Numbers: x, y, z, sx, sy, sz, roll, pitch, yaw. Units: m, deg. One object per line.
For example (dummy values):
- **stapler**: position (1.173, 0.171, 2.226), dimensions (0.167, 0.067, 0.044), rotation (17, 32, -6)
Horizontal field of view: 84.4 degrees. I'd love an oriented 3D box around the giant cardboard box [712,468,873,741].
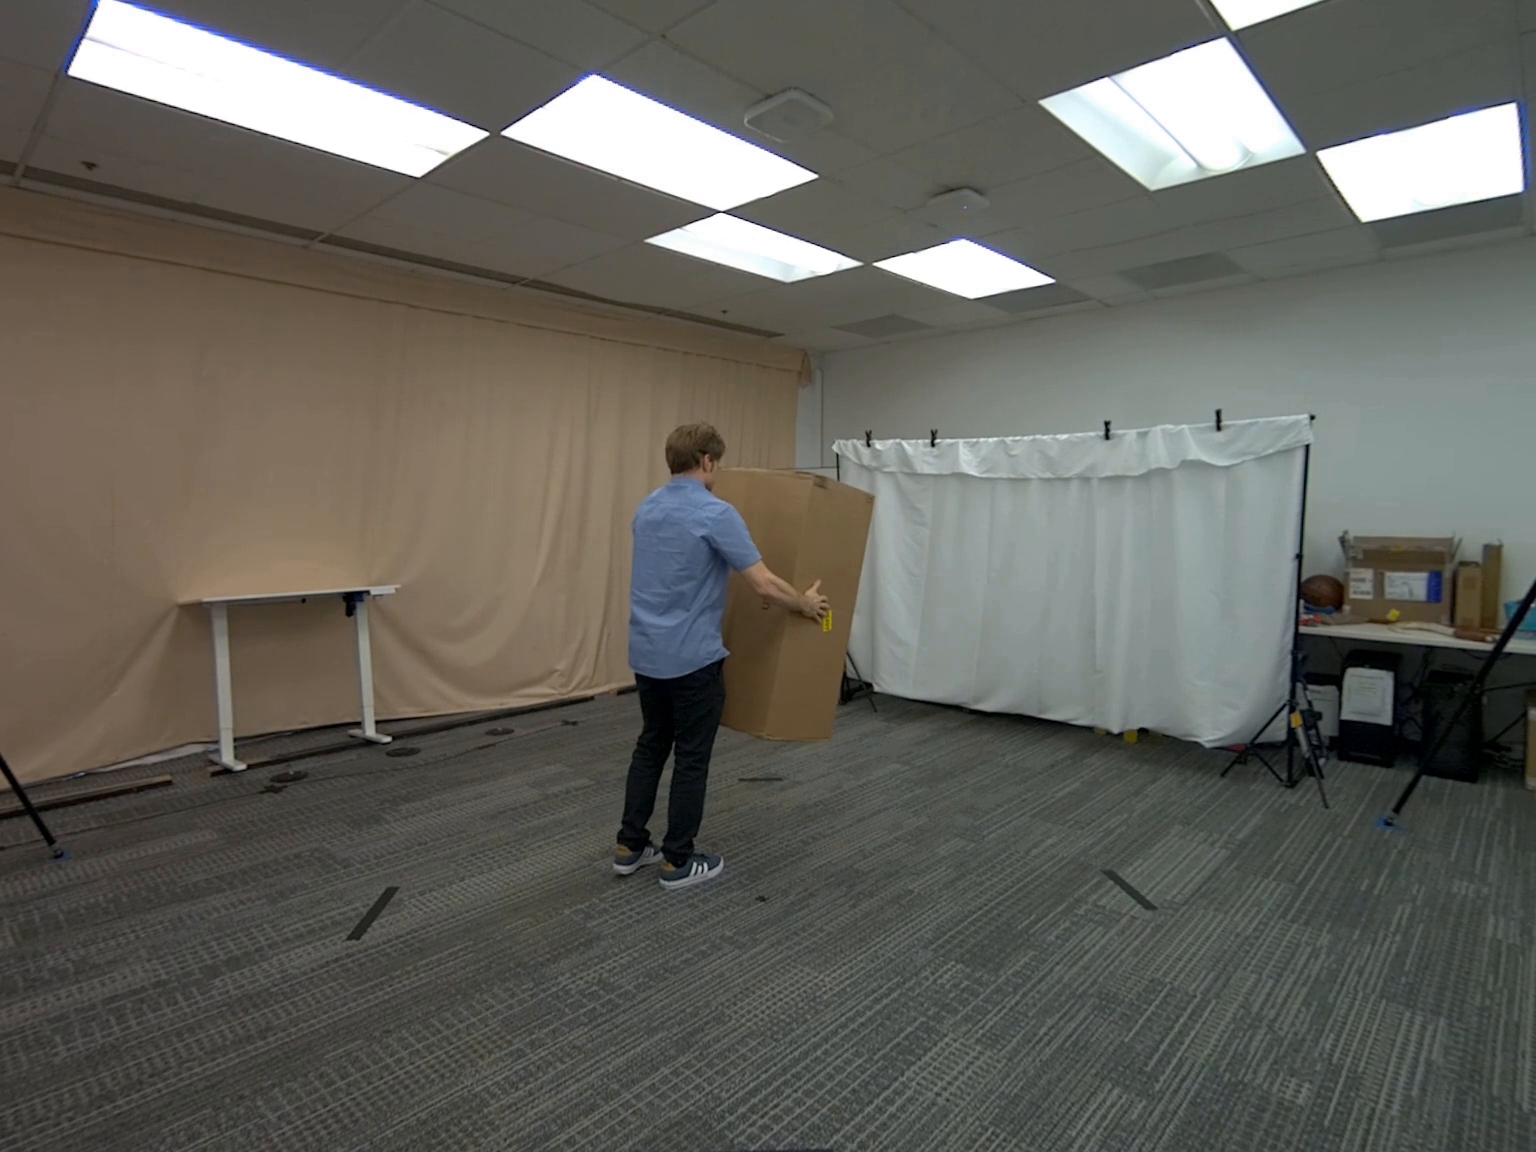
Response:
- **giant cardboard box**: position (0.009, 0.106, 3.496), dimensions (0.597, 1.027, 0.411), rotation (8, -3, 43)
